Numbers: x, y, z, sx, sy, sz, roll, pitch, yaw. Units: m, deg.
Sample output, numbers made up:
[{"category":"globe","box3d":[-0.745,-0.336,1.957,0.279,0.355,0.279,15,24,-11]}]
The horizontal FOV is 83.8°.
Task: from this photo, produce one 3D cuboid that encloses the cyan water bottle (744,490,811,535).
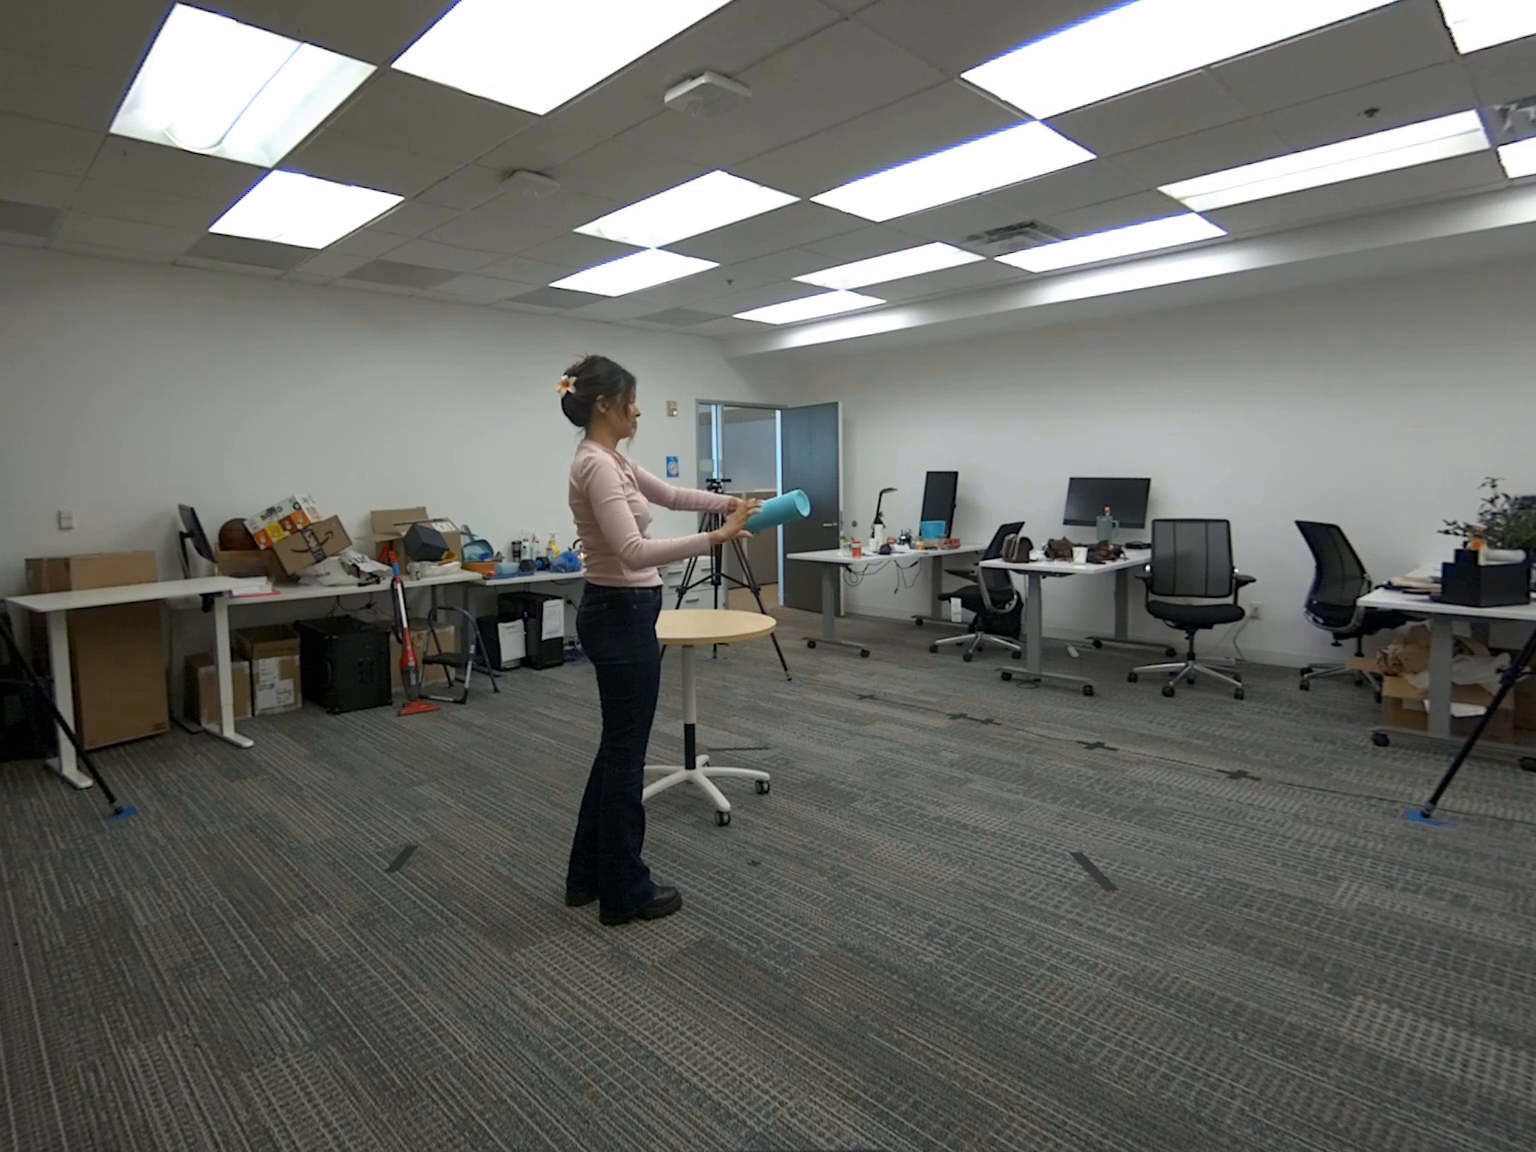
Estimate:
[{"category":"cyan water bottle","box3d":[-0.006,-0.197,2.743,0.288,0.093,0.090,-16,-3,28]}]
